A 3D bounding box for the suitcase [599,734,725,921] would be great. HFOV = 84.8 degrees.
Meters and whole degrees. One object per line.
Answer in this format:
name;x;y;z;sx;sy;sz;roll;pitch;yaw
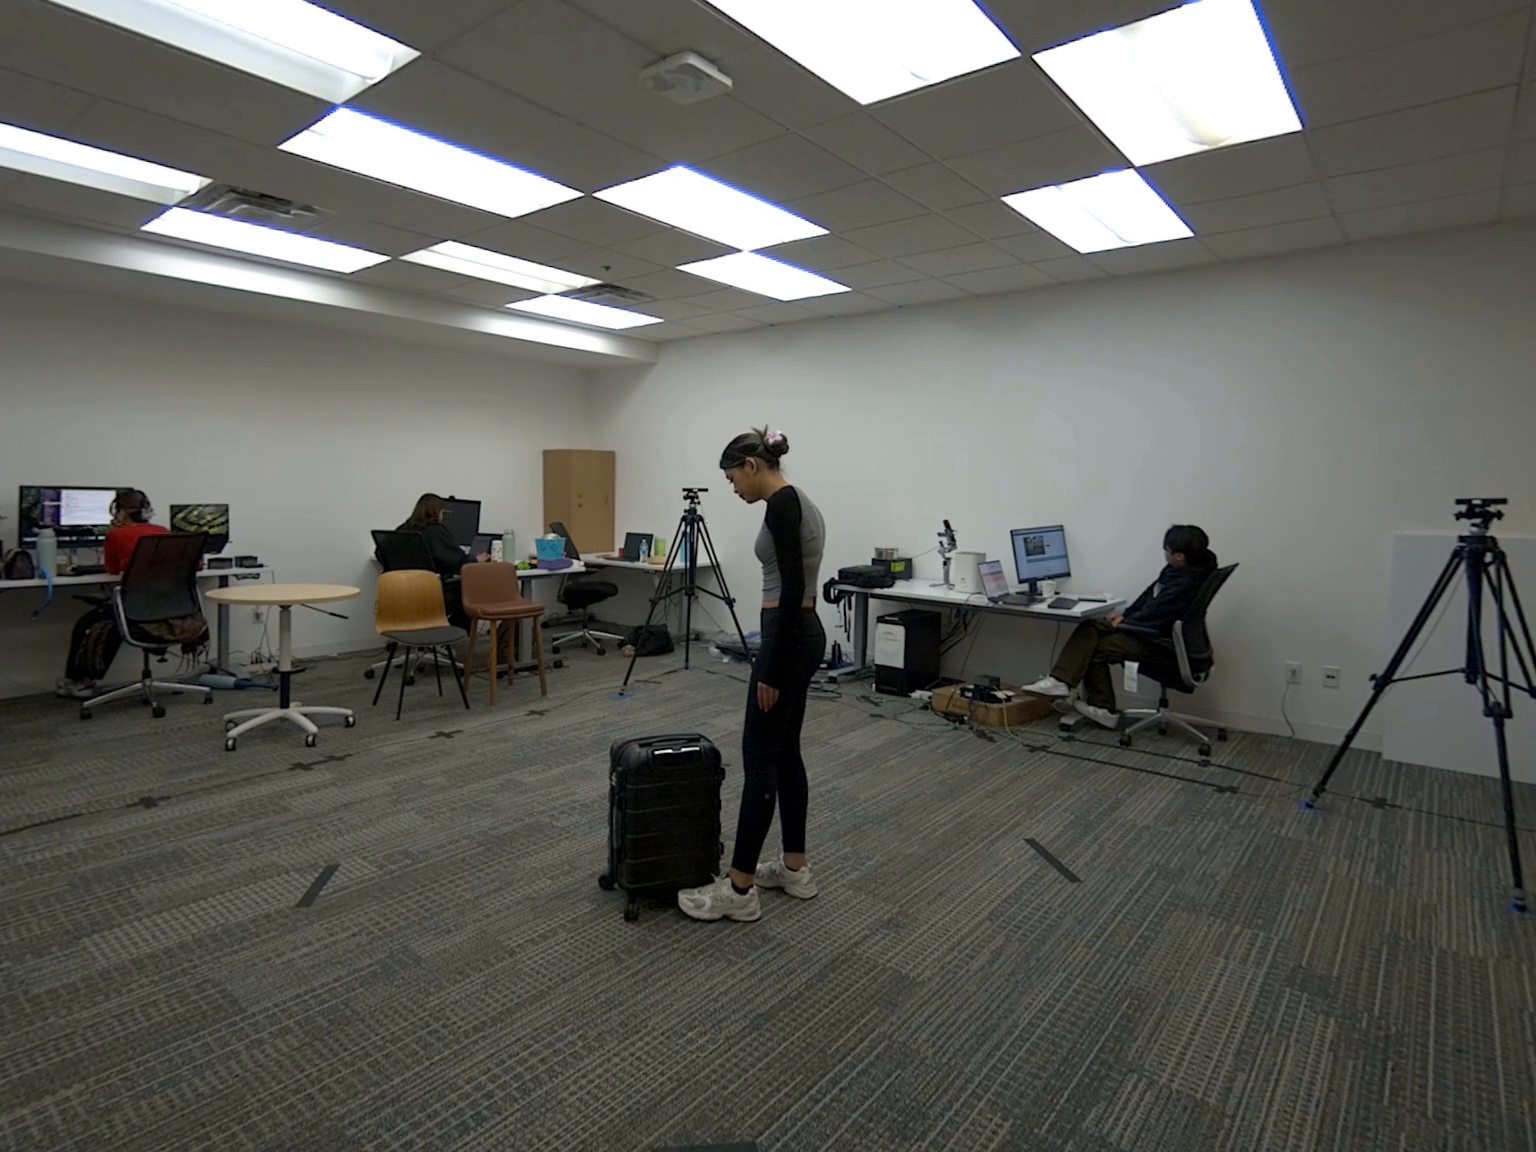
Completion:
suitcase;-0.368;0.811;2.899;0.367;0.548;0.254;0;3;-21
